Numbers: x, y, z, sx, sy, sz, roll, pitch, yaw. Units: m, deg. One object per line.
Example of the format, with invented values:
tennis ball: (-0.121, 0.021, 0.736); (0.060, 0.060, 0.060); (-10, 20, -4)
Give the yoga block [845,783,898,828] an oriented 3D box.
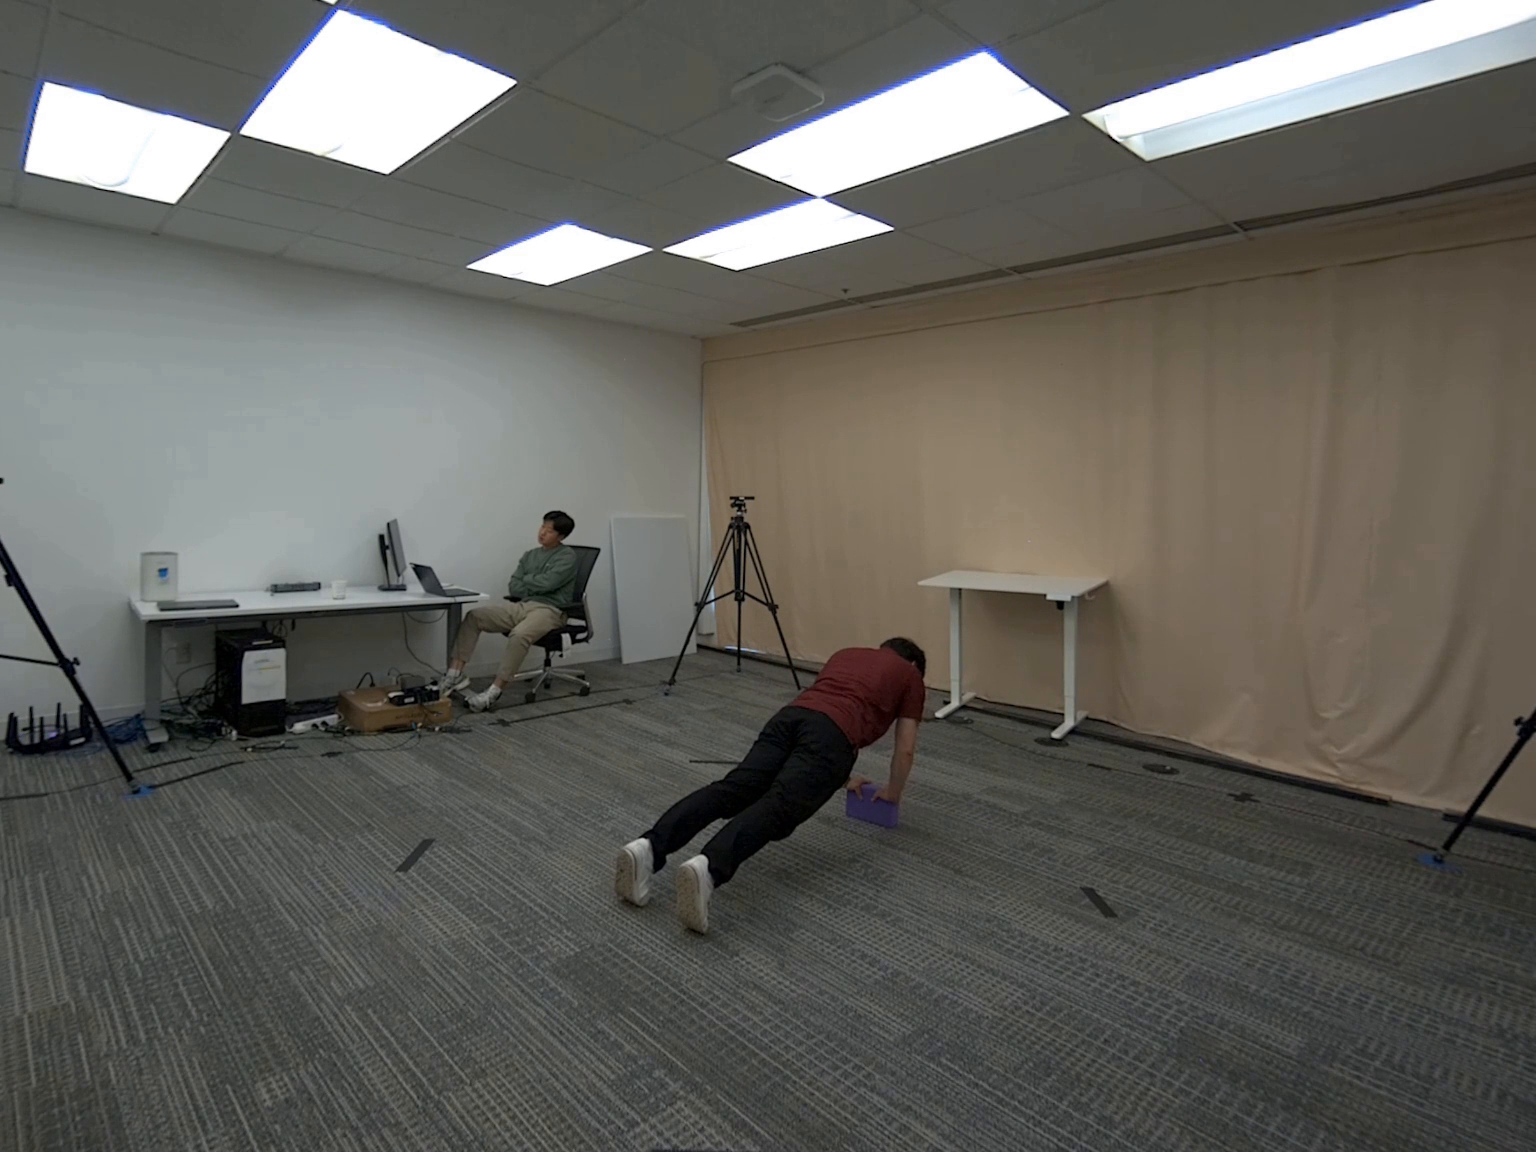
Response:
yoga block: (0.444, 0.997, 3.693); (0.235, 0.149, 0.074); (5, 0, 40)
